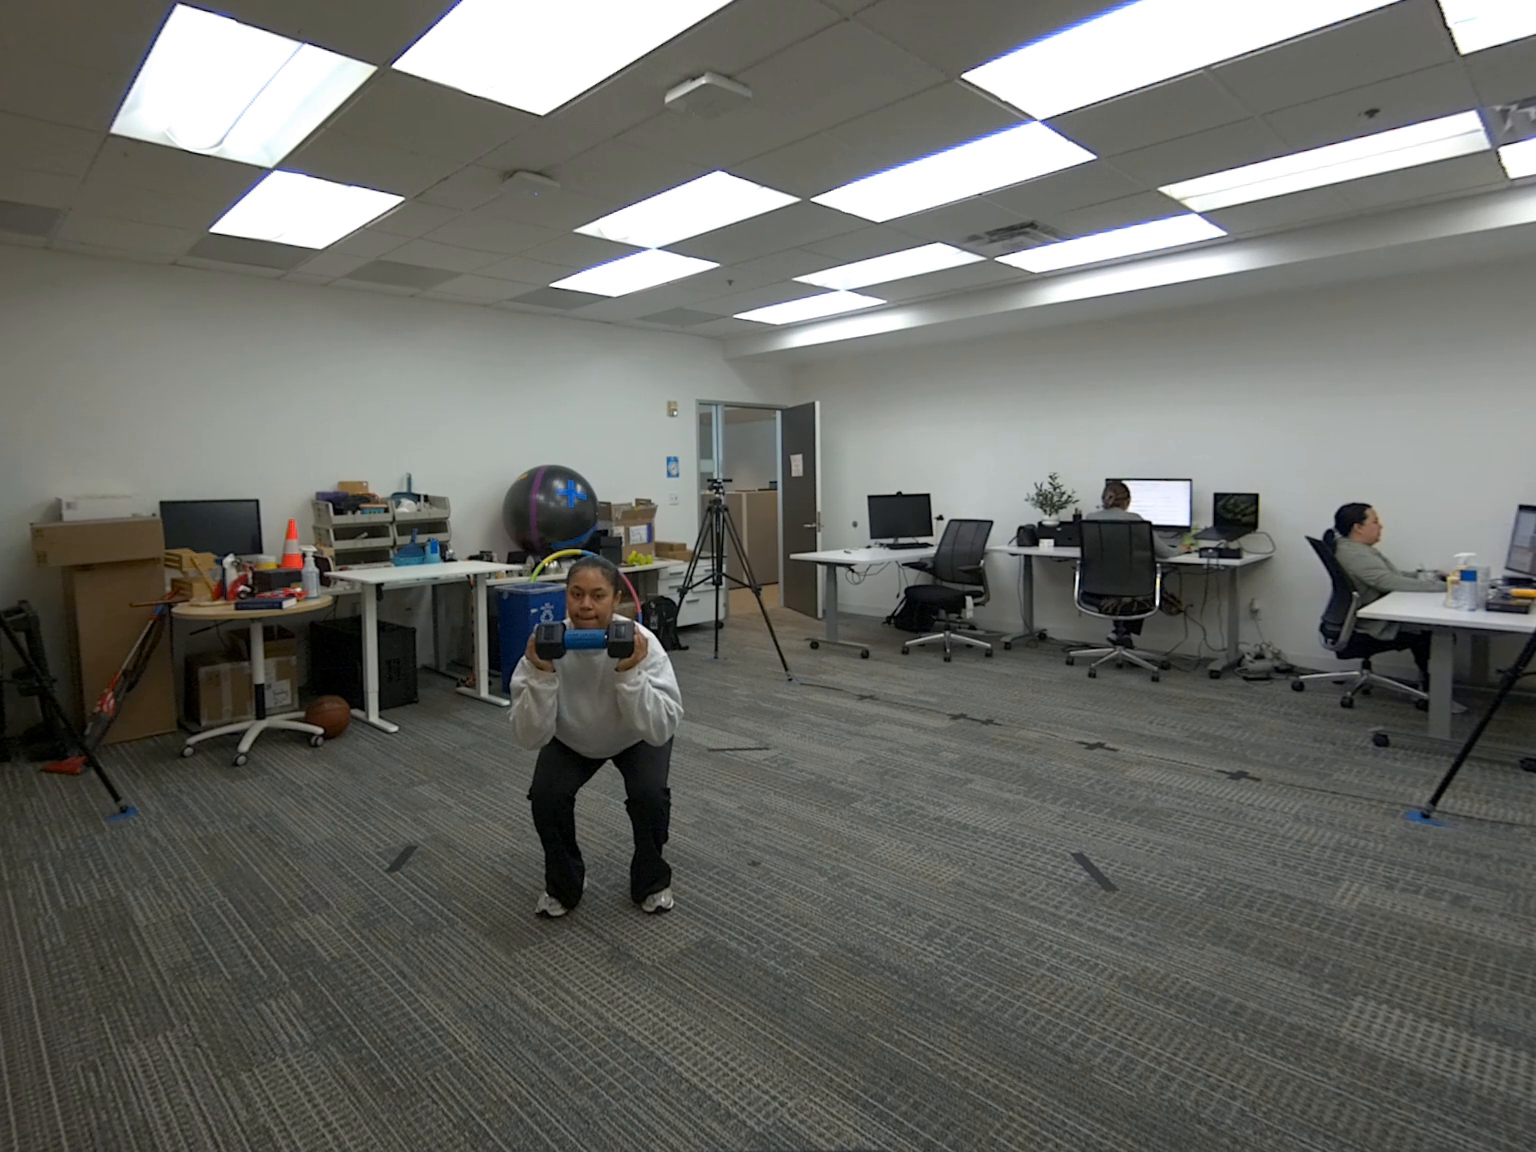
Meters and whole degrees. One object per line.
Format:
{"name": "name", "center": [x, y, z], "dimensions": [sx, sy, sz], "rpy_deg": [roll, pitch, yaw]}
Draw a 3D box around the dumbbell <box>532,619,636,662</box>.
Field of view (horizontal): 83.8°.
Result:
{"name": "dumbbell", "center": [-0.551, 0.177, 2.563], "dimensions": [0.294, 0.126, 0.106], "rpy_deg": [-2, -29, 1]}
